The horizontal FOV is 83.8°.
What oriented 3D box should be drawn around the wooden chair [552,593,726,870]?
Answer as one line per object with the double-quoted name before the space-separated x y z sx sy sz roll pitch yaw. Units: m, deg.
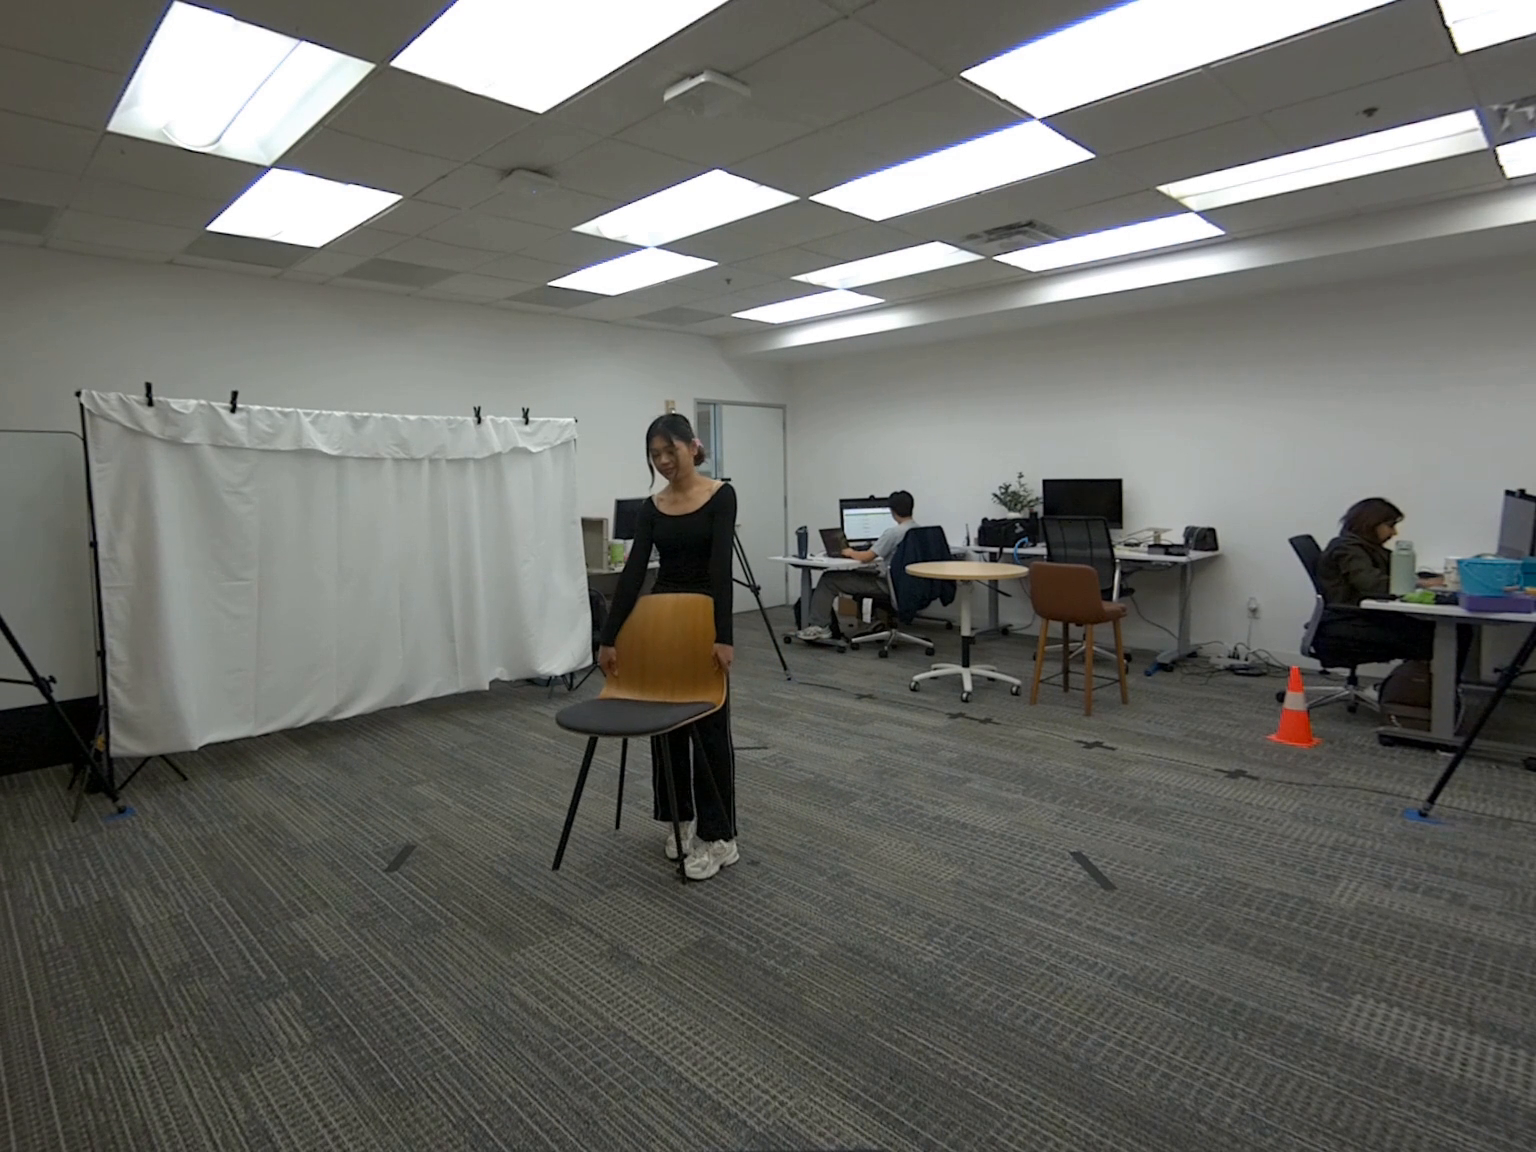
"wooden chair" -0.399 0.494 2.805 0.486 0.882 0.511 -1 -6 18
